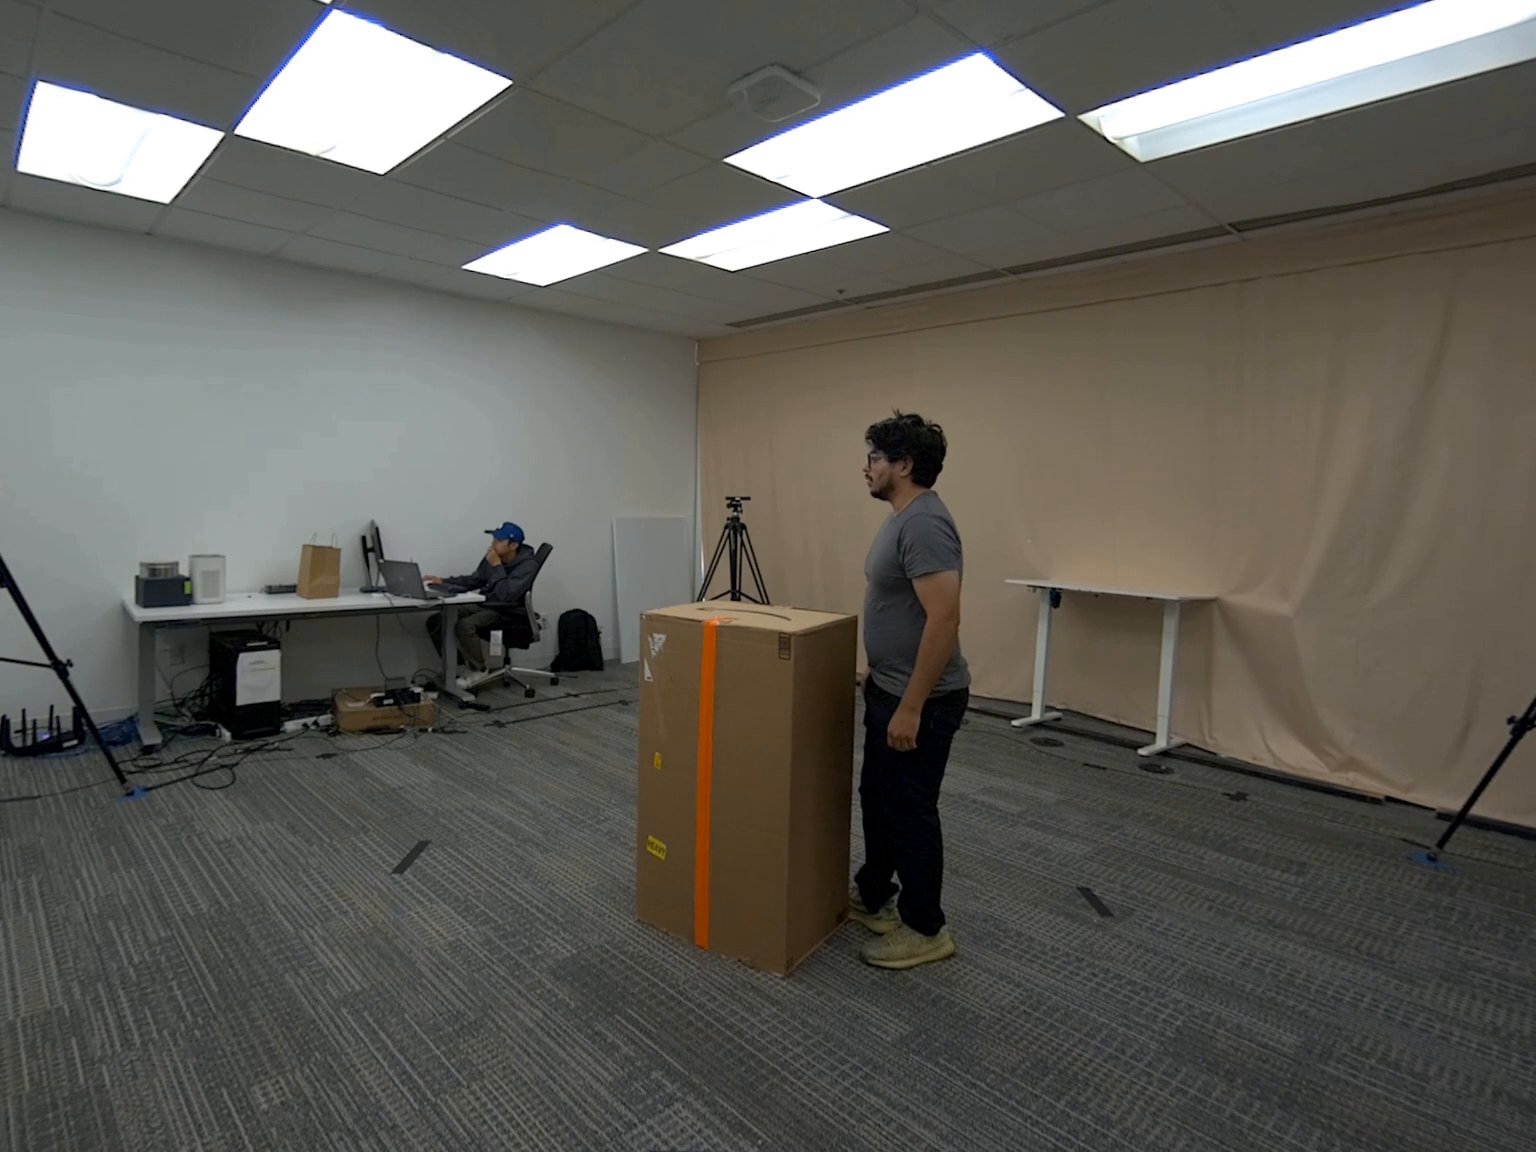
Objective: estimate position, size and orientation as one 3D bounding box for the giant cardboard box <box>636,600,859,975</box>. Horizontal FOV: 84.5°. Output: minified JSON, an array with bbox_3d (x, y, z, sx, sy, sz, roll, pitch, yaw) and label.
[{"bbox_3d":[-0.079,0.636,2.748,0.597,1.024,0.437,4,4,34],"label":"giant cardboard box"}]
